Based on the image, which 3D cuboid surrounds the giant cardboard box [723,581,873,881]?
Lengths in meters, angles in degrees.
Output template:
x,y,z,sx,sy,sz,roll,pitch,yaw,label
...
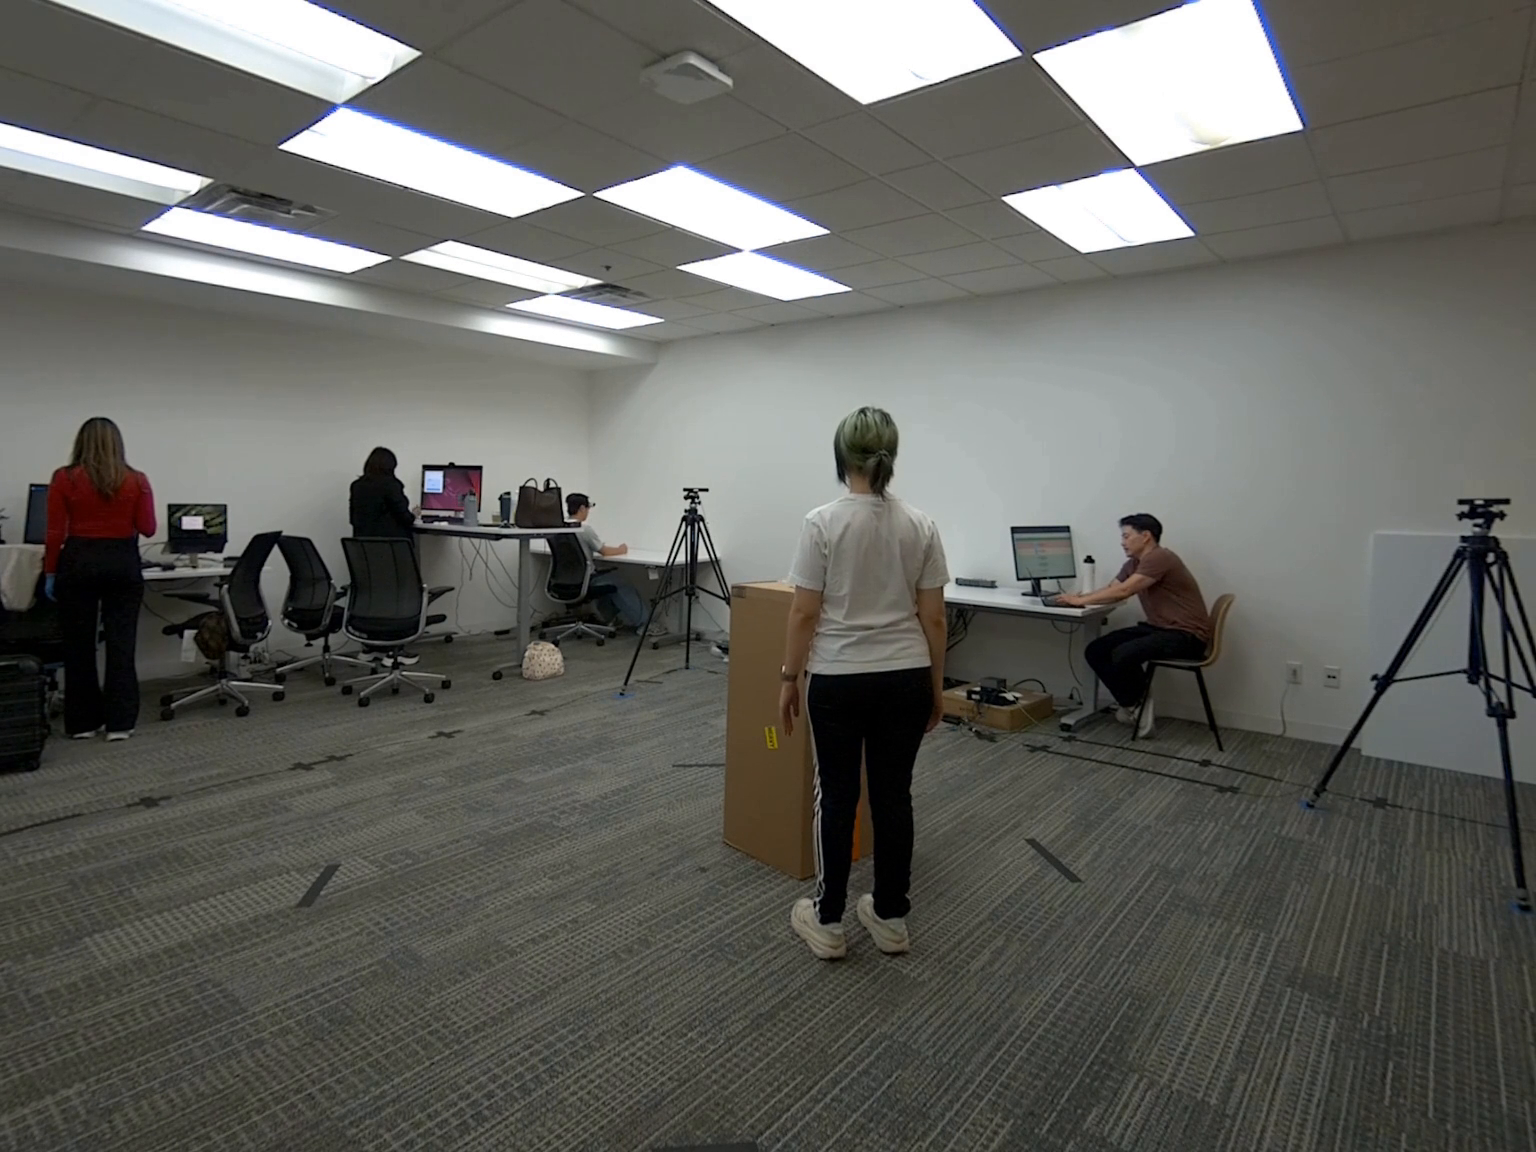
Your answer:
x,y,z,sx,sy,sz,roll,pitch,yaw,label
0.178,0.549,3.352,0.566,1.025,0.462,-1,3,-44,giant cardboard box
